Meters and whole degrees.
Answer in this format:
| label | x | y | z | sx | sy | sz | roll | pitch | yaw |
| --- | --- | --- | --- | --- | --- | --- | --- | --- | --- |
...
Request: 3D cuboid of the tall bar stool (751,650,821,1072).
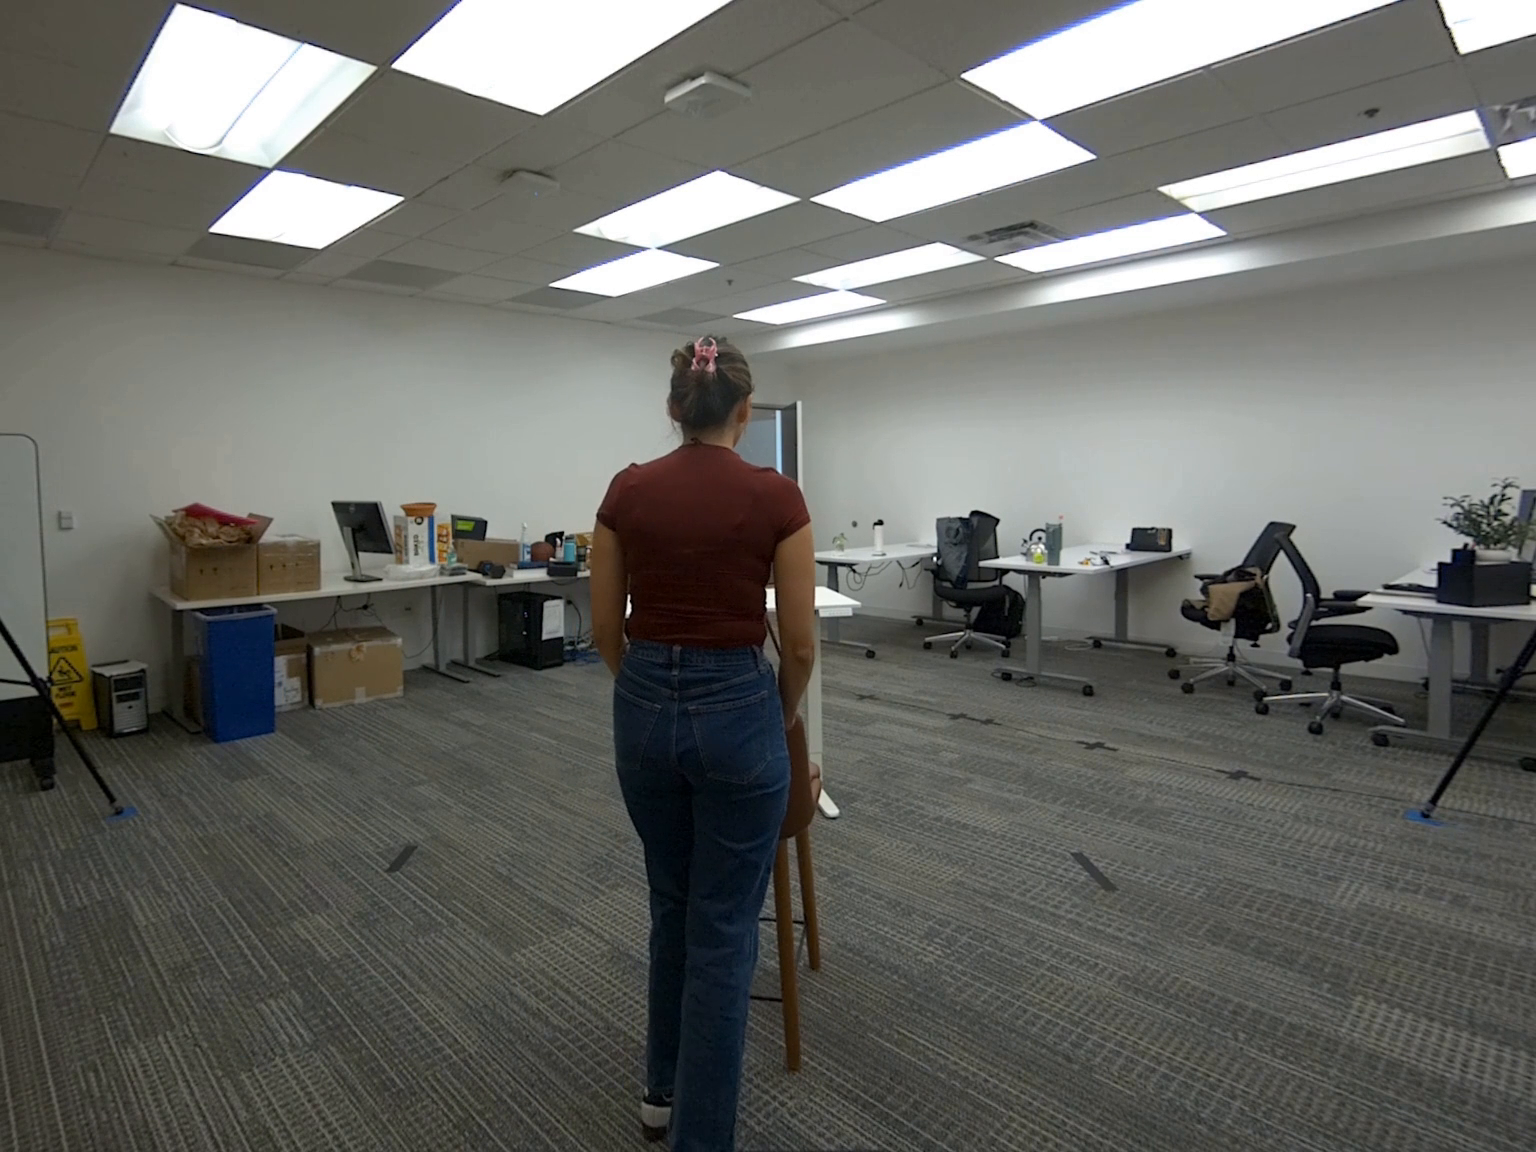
| label | x | y | z | sx | sy | sz | roll | pitch | yaw |
| --- | --- | --- | --- | --- | --- | --- | --- | --- | --- |
| tall bar stool | -0.080 | 0.713 | 2.245 | 0.461 | 0.885 | 0.465 | 0 | 6 | 9 |
